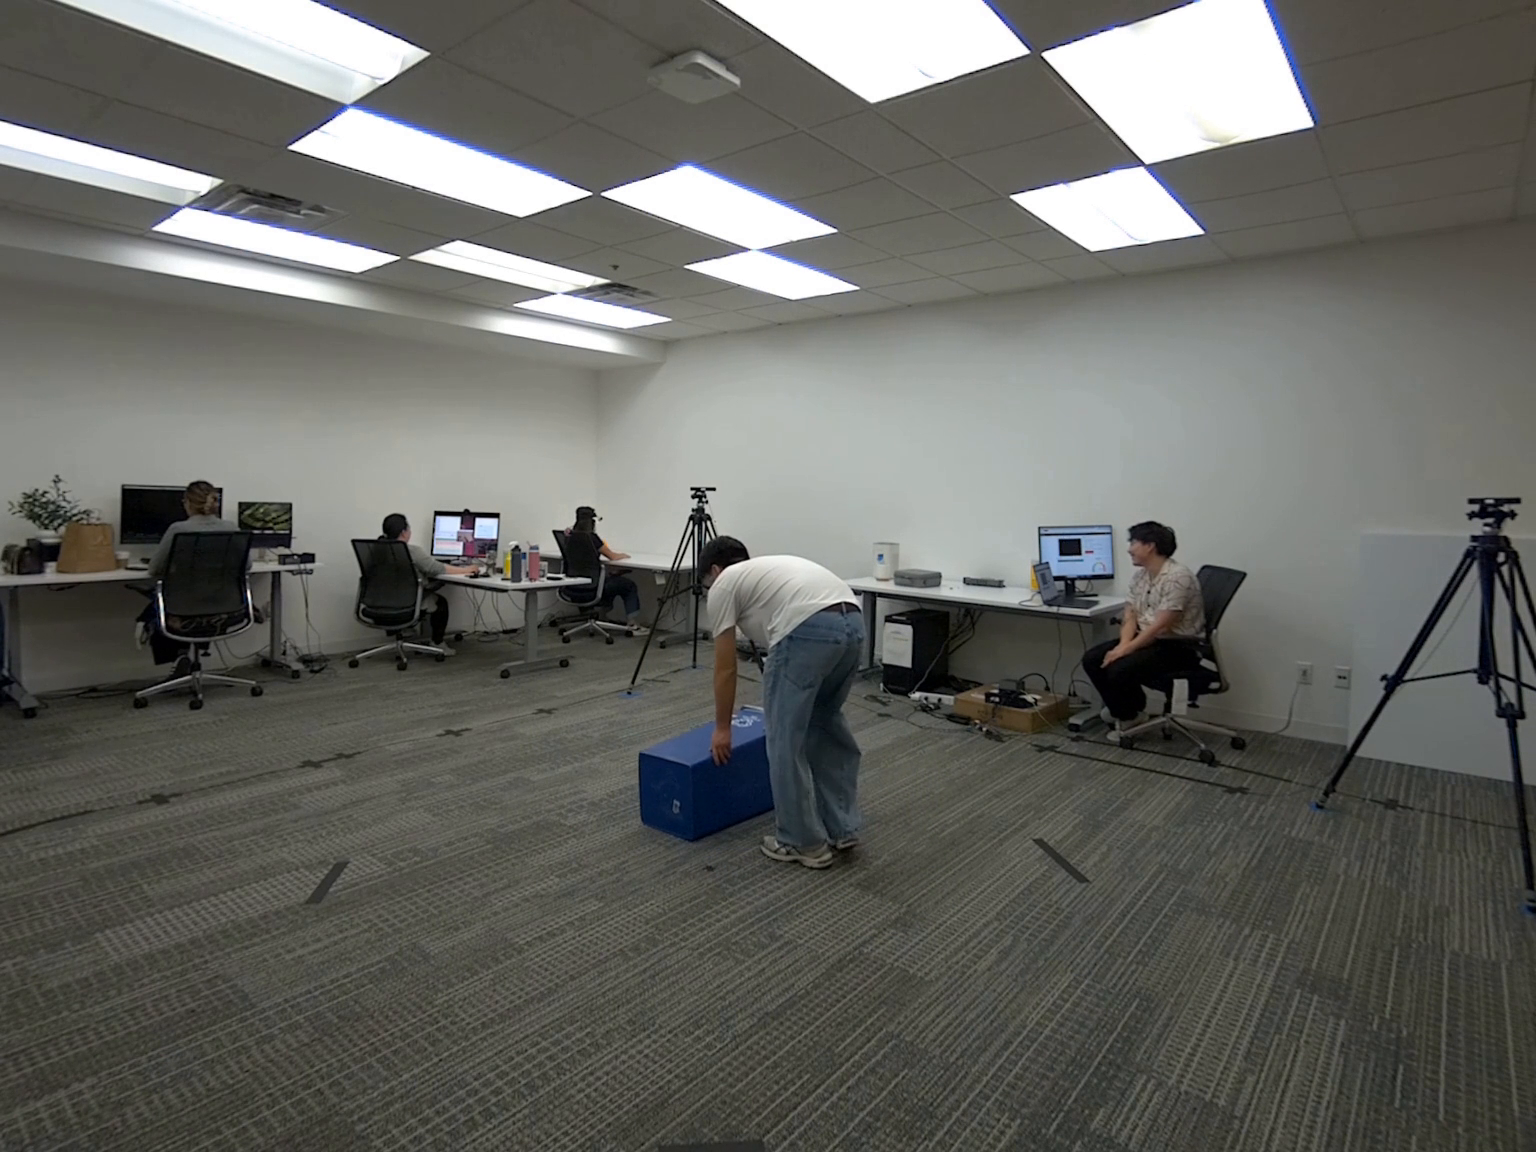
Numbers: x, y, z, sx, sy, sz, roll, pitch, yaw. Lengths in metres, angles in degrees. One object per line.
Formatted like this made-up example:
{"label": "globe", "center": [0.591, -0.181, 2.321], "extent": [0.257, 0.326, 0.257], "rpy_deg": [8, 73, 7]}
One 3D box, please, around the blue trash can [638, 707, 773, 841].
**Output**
{"label": "blue trash can", "center": [-0.204, 0.846, 3.679], "extent": [0.386, 0.376, 0.694], "rpy_deg": [3, 8, 39]}
